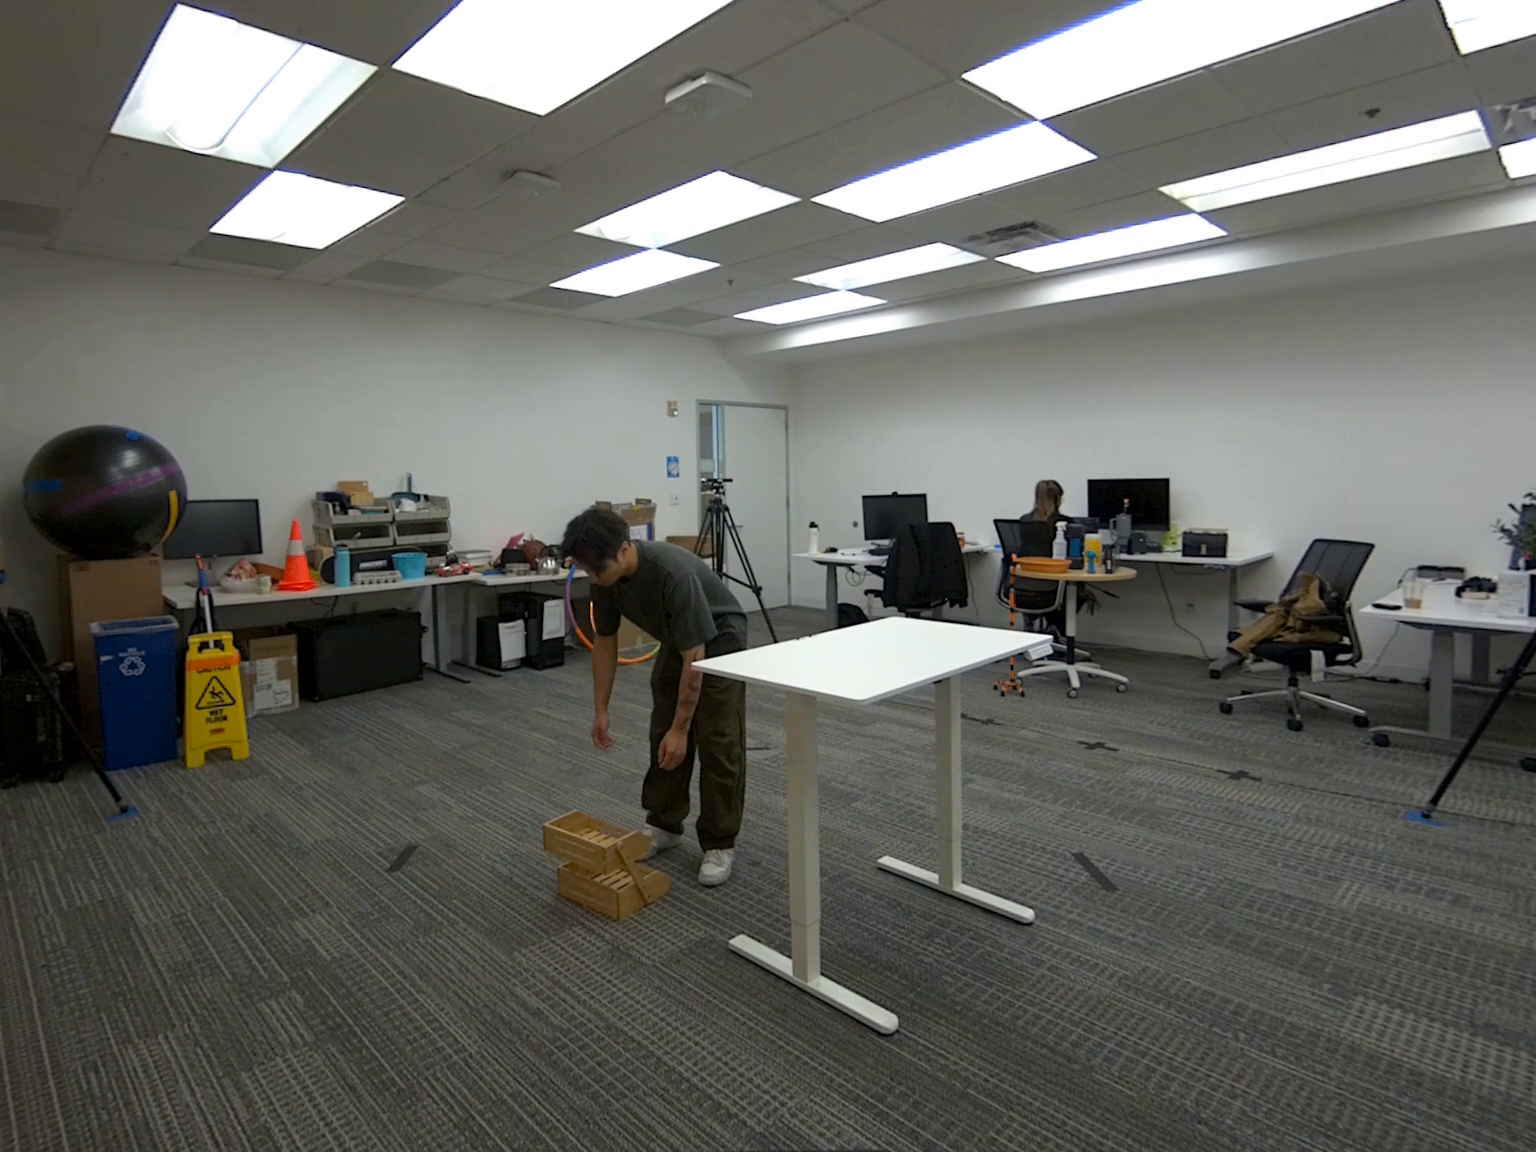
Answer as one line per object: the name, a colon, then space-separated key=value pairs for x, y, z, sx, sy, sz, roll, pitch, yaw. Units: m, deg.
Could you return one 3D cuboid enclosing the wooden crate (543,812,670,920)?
wooden crate: x=-0.538 y=0.947 z=2.882 sx=0.334 sy=0.272 sz=0.295 roll=3 pitch=7 yaw=37
